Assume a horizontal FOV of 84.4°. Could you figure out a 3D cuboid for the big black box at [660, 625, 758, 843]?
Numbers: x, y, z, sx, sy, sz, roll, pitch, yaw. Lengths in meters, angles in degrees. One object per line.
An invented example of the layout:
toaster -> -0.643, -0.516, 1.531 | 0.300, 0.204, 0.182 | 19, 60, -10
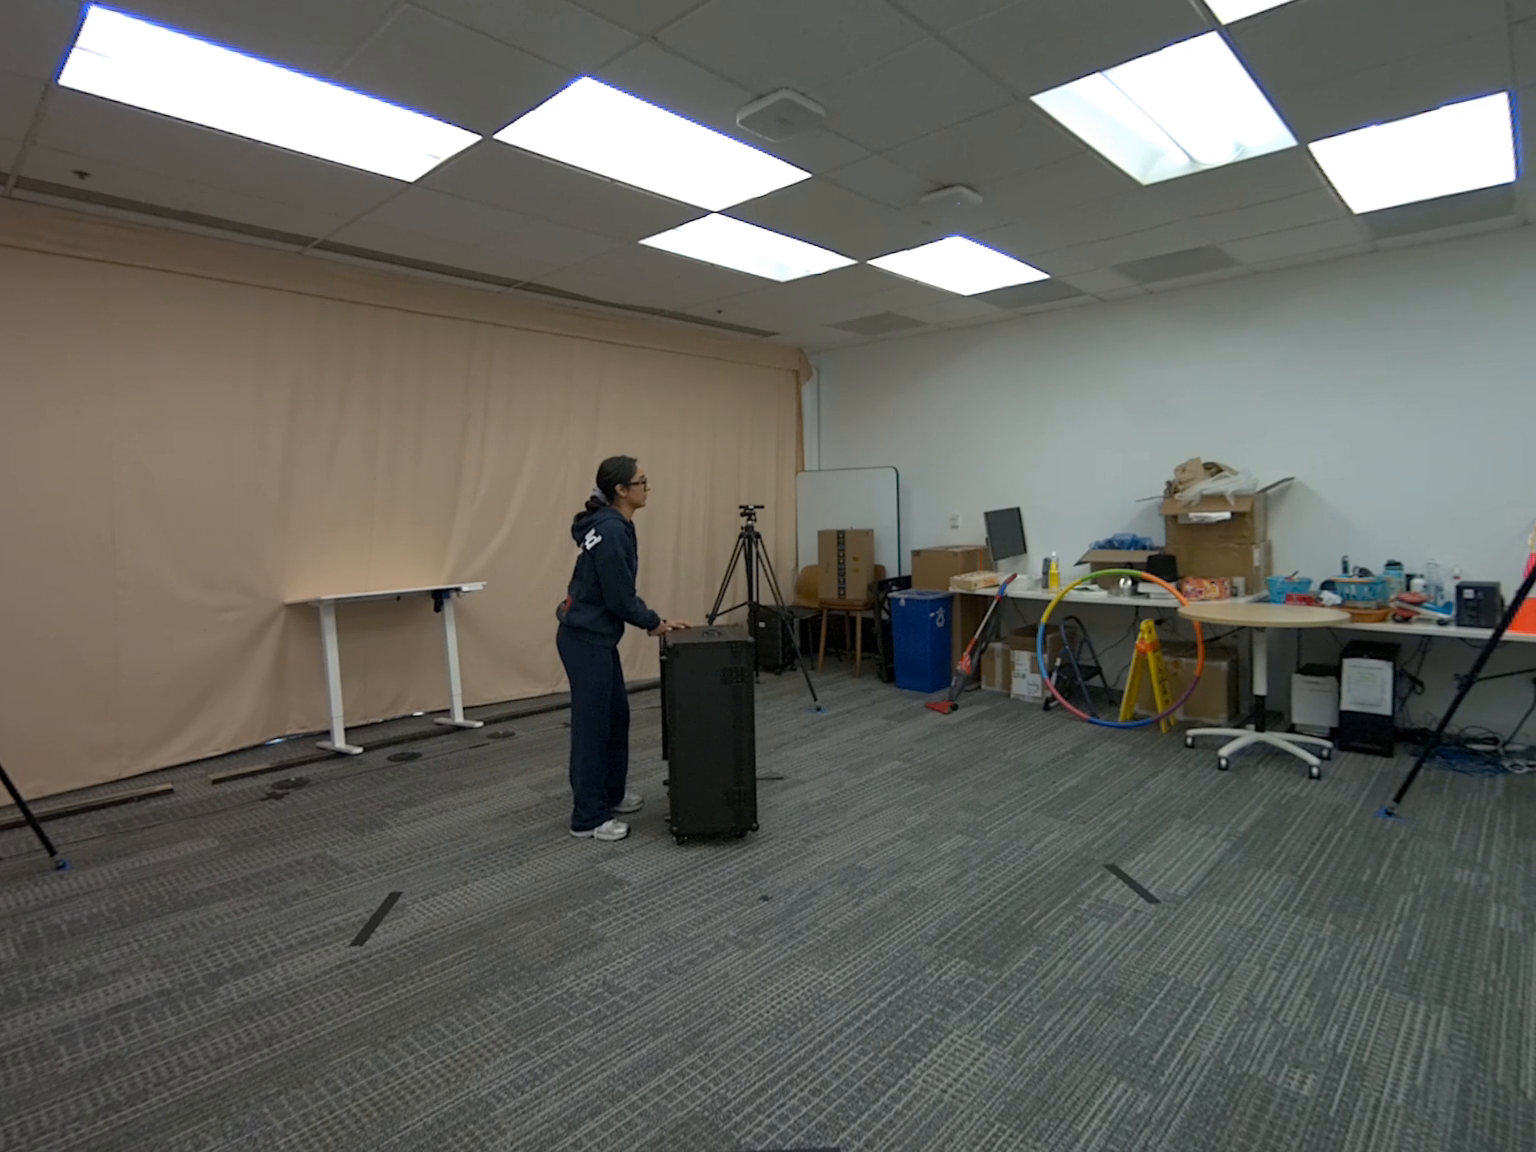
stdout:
big black box -> -0.262, 0.665, 3.621 | 0.394, 0.860, 0.526 | -2, 3, -7
